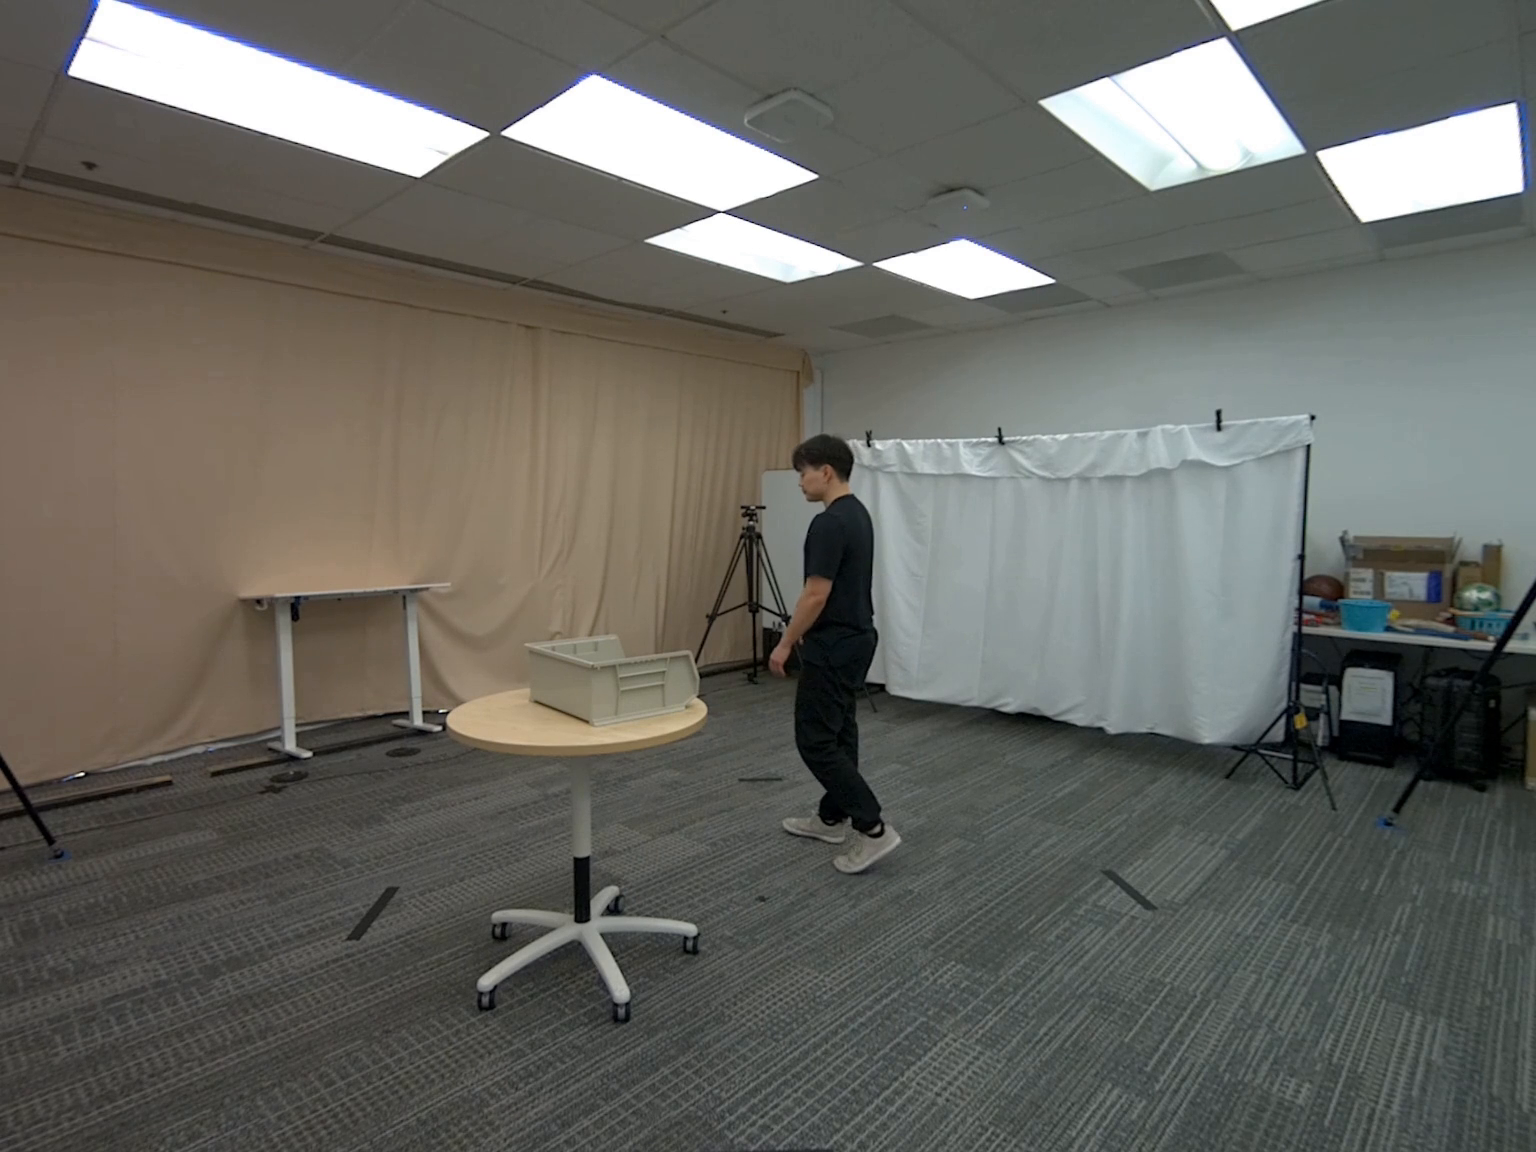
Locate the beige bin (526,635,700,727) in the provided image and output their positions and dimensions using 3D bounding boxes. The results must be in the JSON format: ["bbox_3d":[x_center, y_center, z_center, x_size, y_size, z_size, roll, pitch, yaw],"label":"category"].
[{"bbox_3d":[-0.485,0.310,2.590,0.366,0.188,0.436,-5,7,-40],"label":"beige bin"}]
